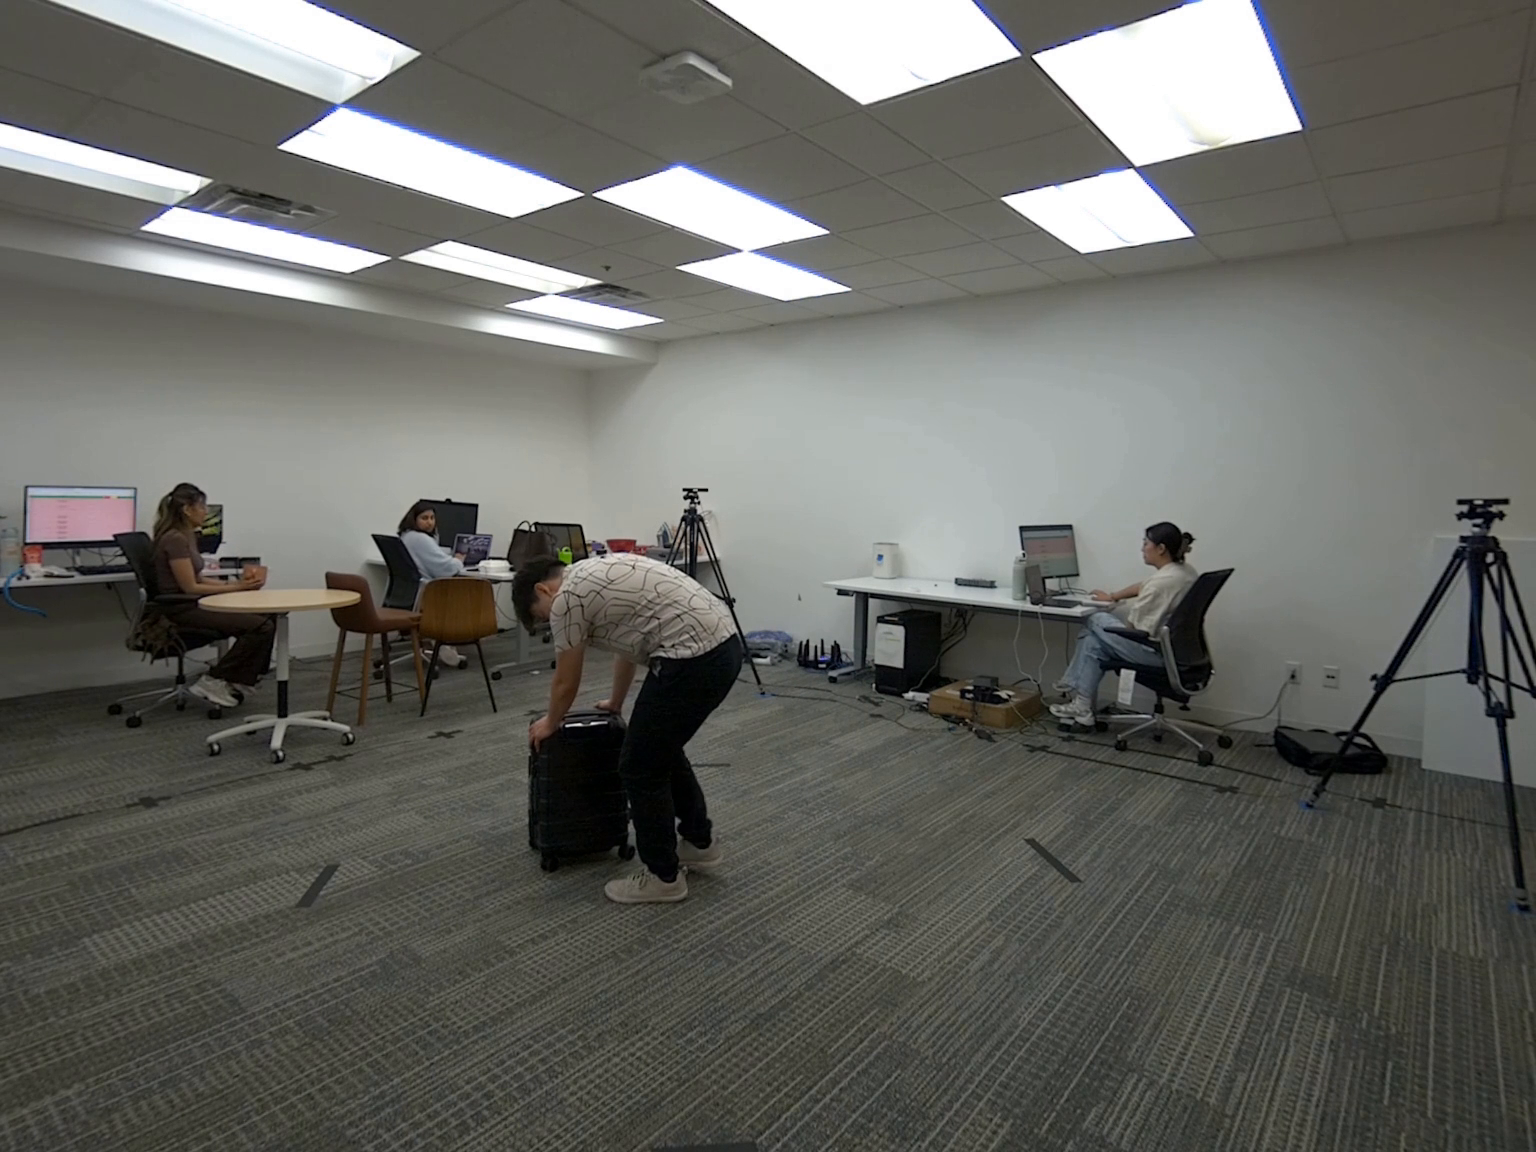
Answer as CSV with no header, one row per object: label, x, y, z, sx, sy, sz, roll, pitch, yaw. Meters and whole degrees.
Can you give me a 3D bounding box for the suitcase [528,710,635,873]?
suitcase,-0.729,0.777,3.199,0.367,0.547,0.255,-1,4,-25
